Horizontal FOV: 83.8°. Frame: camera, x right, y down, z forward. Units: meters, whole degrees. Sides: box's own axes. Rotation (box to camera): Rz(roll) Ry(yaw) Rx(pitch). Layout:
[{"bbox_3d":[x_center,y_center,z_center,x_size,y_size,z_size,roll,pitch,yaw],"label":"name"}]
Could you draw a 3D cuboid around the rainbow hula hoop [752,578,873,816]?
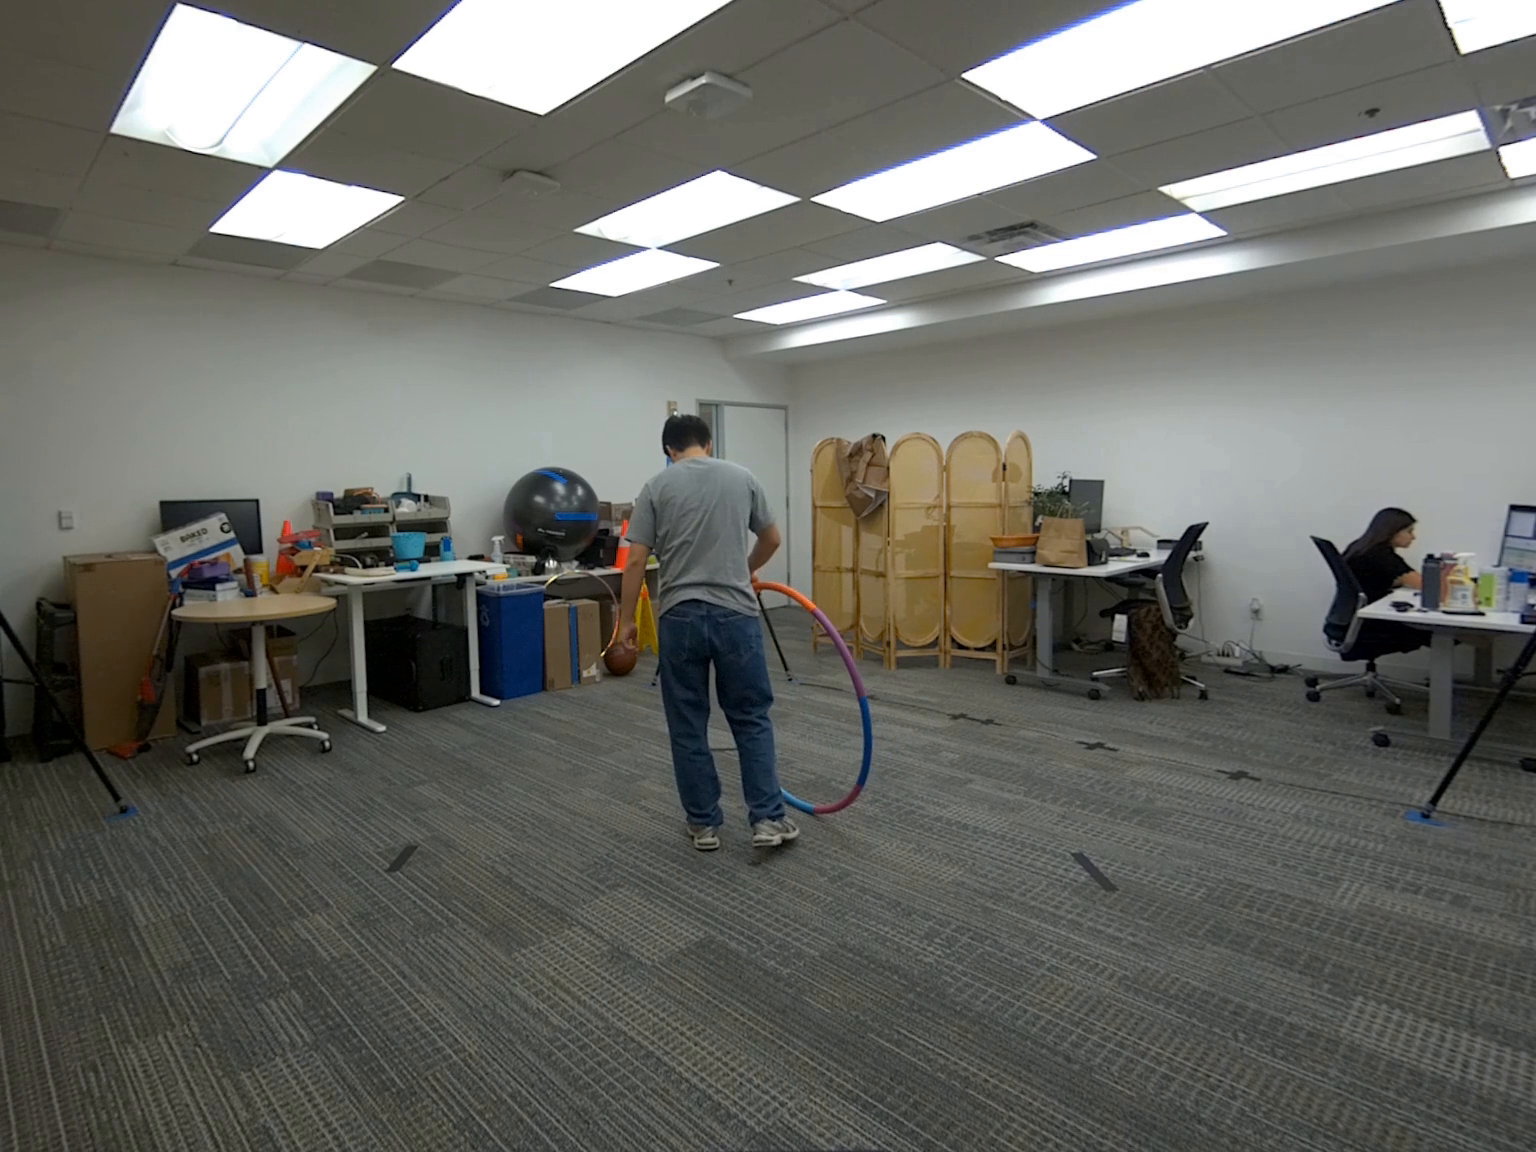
[{"bbox_3d":[0.076,0.505,3.558,0.035,0.970,1.008,-13,11,-35],"label":"rainbow hula hoop"}]
